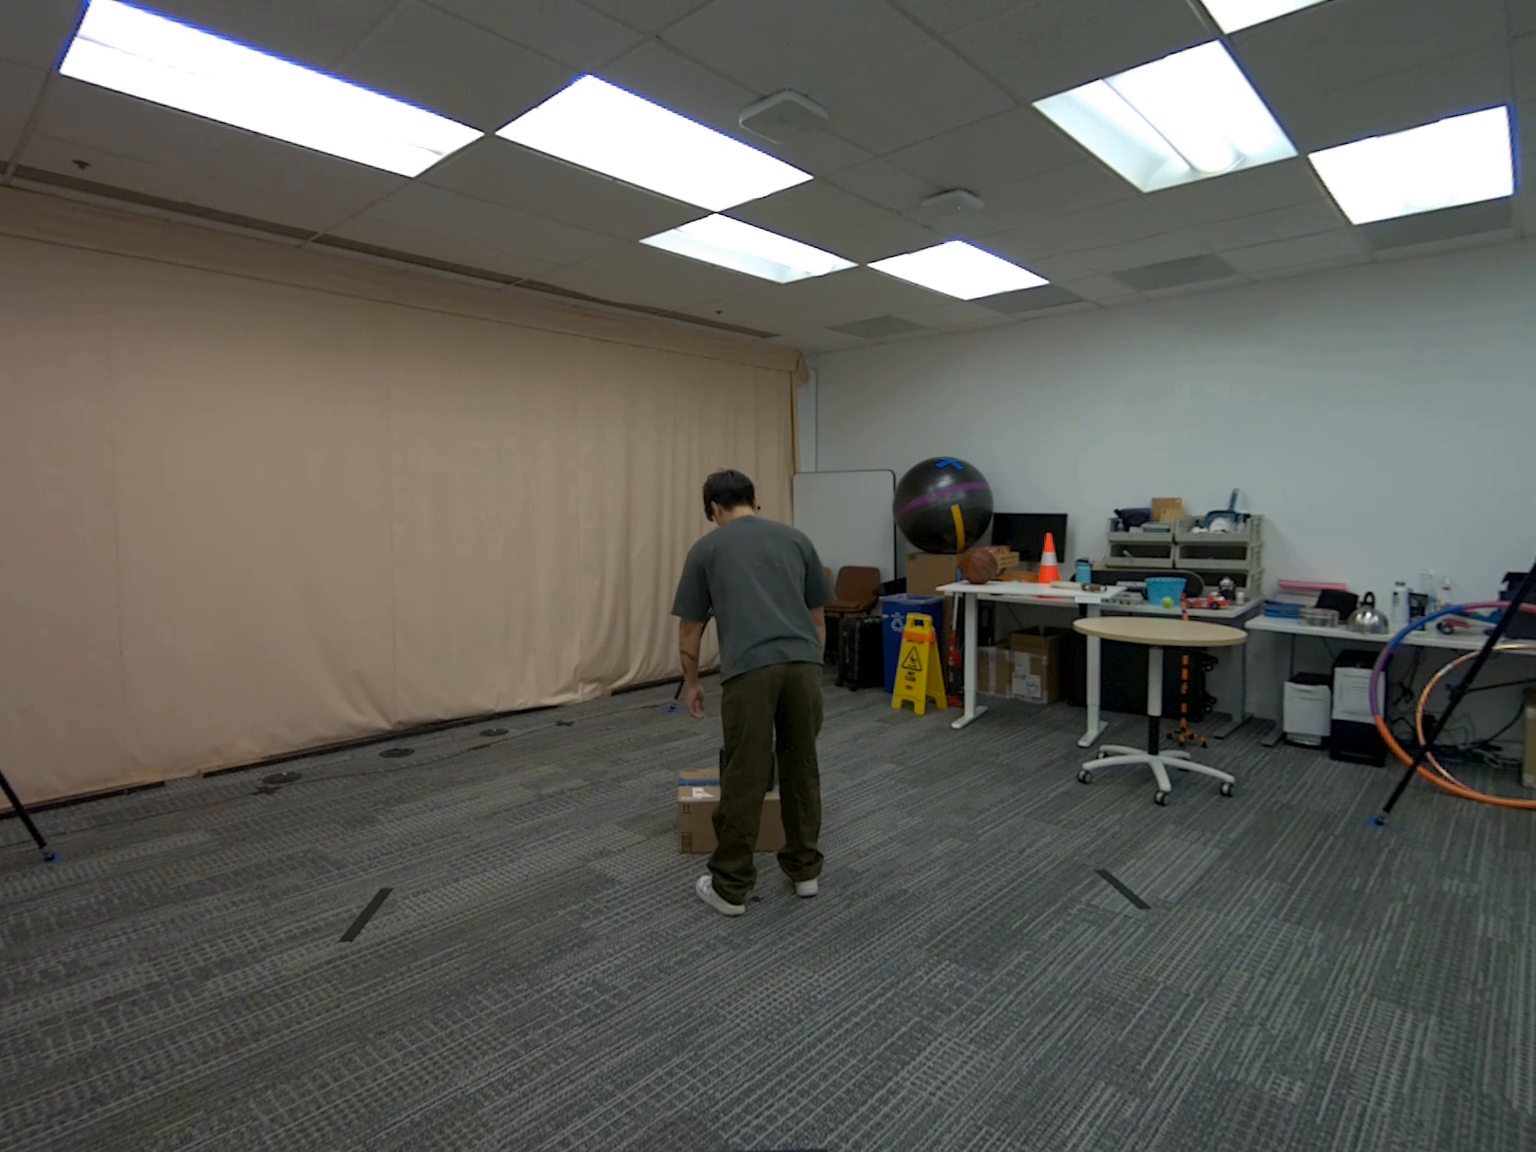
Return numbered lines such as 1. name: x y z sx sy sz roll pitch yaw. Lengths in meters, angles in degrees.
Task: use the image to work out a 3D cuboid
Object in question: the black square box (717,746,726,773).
1. black square box: -0.075 0.793 3.581 0.230 0.156 0.215 1 1 9
